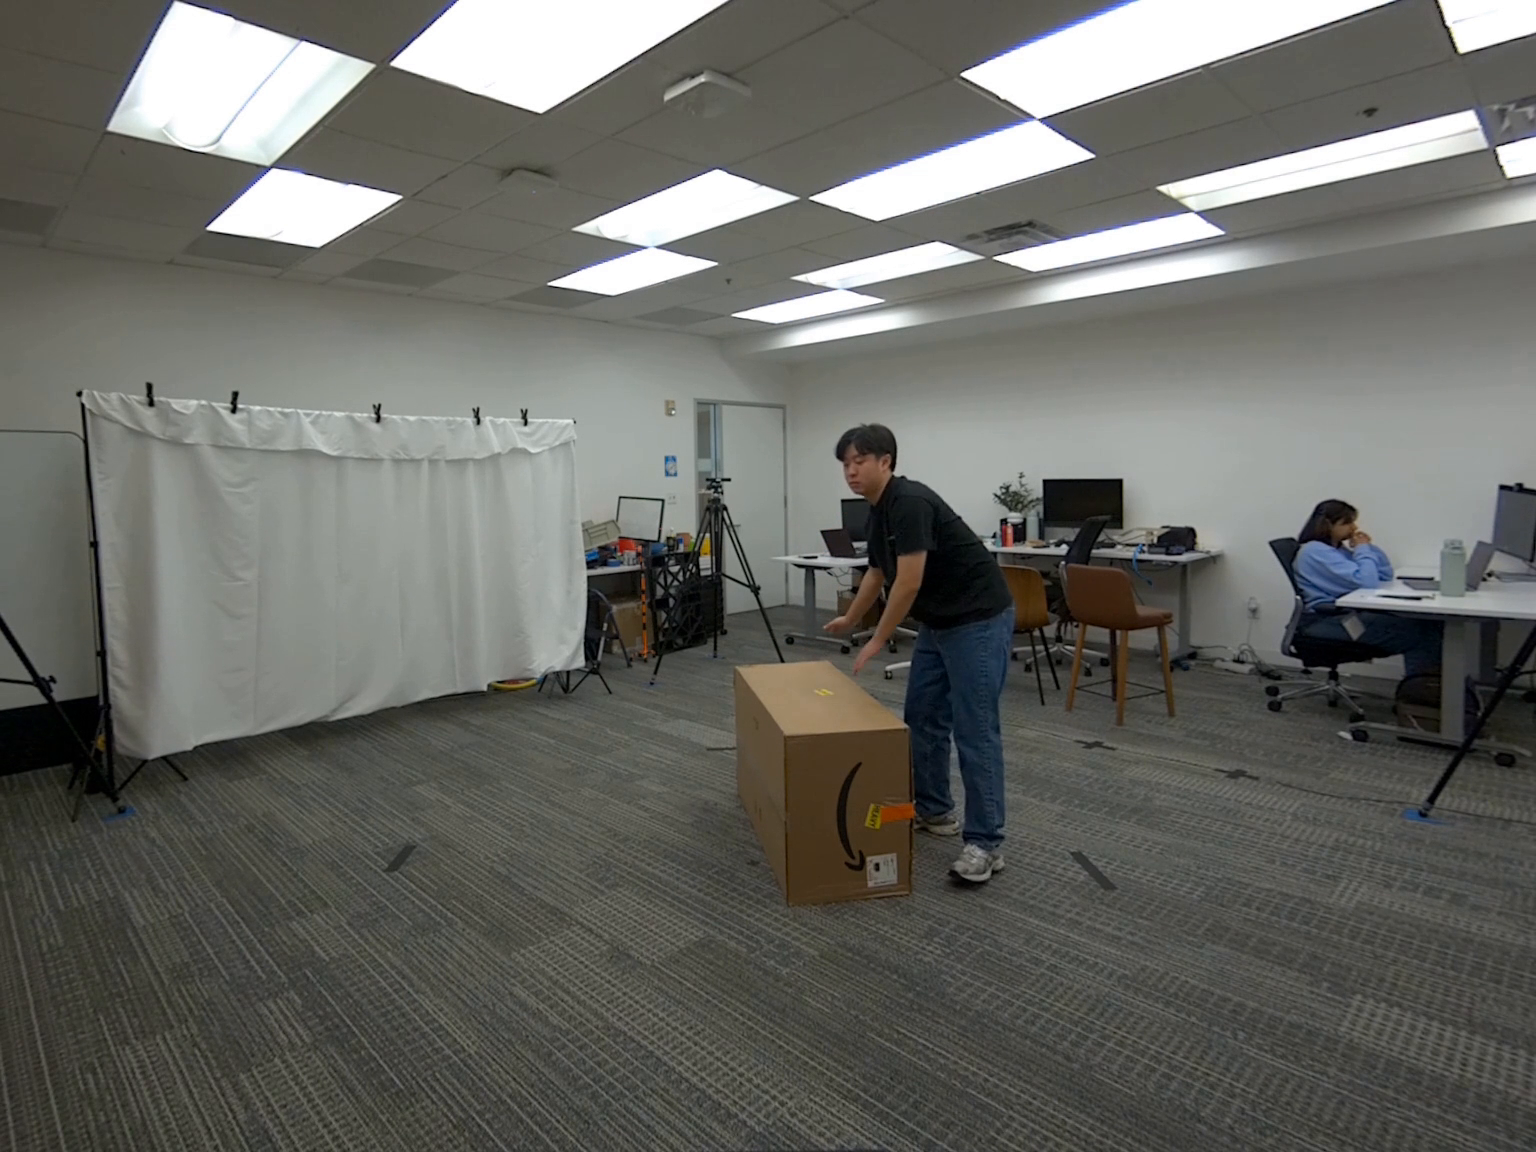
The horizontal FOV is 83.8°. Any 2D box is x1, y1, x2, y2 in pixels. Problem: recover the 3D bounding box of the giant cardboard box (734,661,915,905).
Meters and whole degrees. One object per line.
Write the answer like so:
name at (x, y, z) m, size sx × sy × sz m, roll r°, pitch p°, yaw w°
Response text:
giant cardboard box at (0.171, 0.729, 3.296) m, size 0.442 × 0.581 × 1.042 m, roll -1°, pitch 6°, yaw -11°
